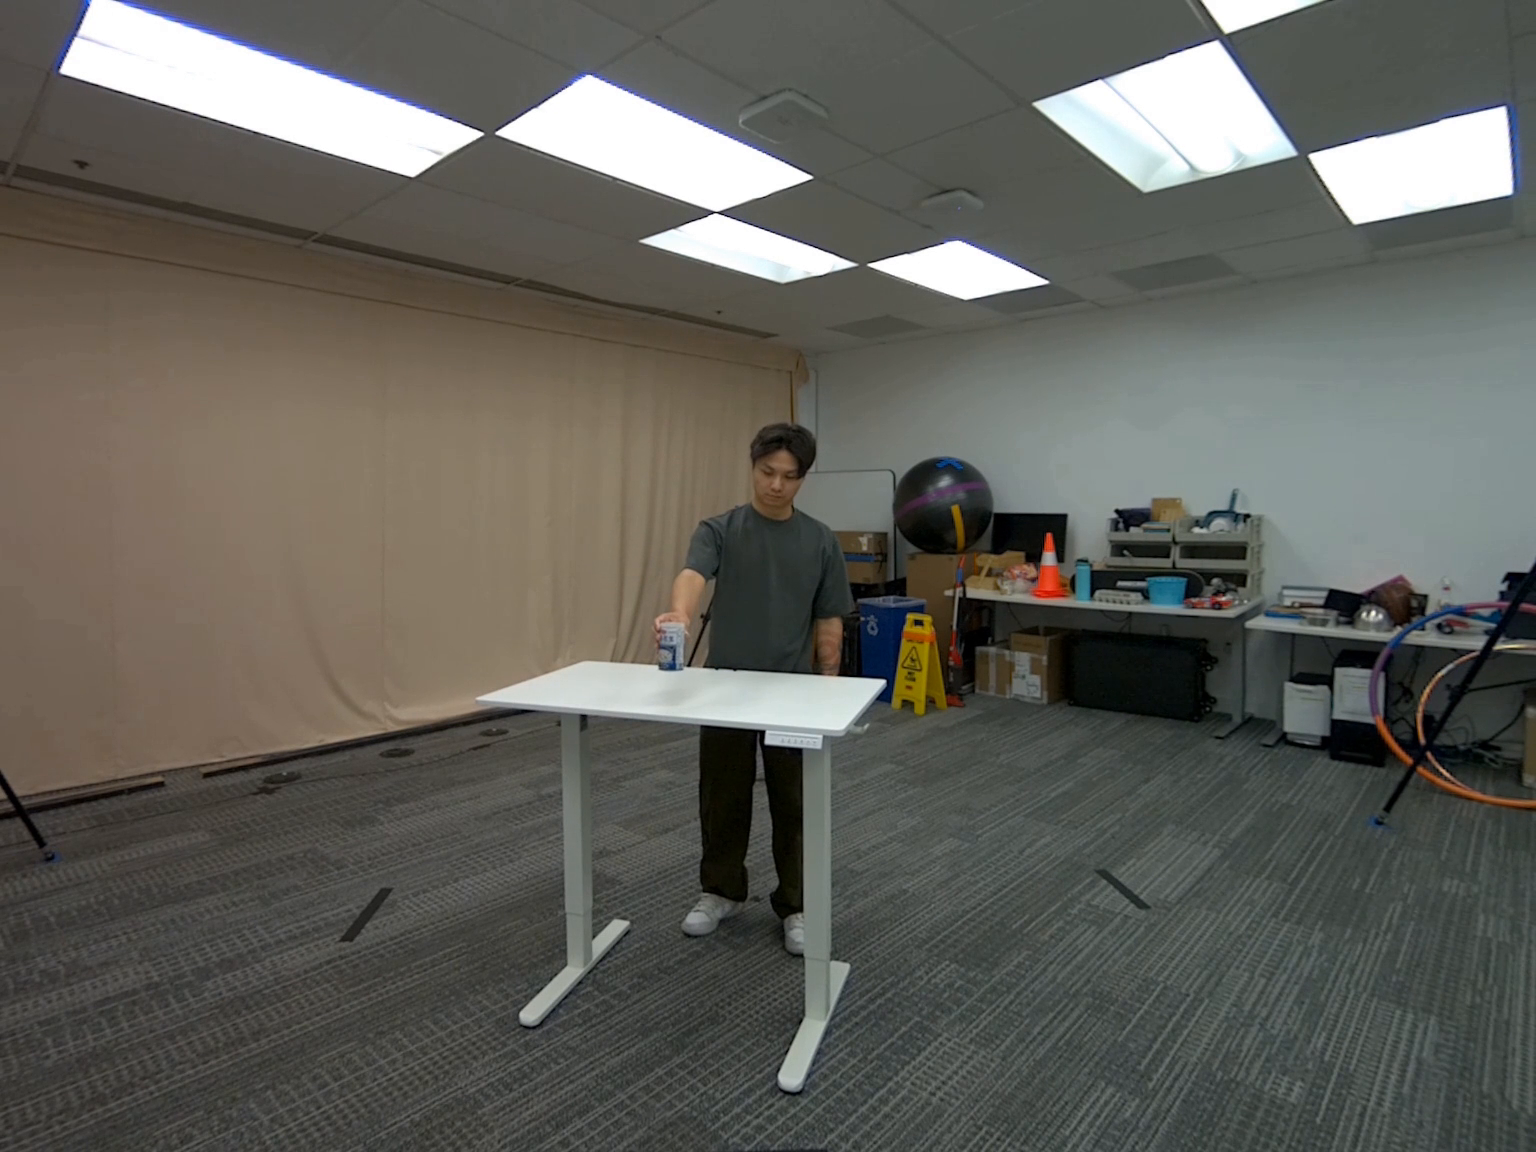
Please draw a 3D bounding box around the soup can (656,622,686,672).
[{"bbox_3d":[-0.244,0.179,2.145,0.067,0.121,0.067,2,4,-2],"label":"soup can"}]
